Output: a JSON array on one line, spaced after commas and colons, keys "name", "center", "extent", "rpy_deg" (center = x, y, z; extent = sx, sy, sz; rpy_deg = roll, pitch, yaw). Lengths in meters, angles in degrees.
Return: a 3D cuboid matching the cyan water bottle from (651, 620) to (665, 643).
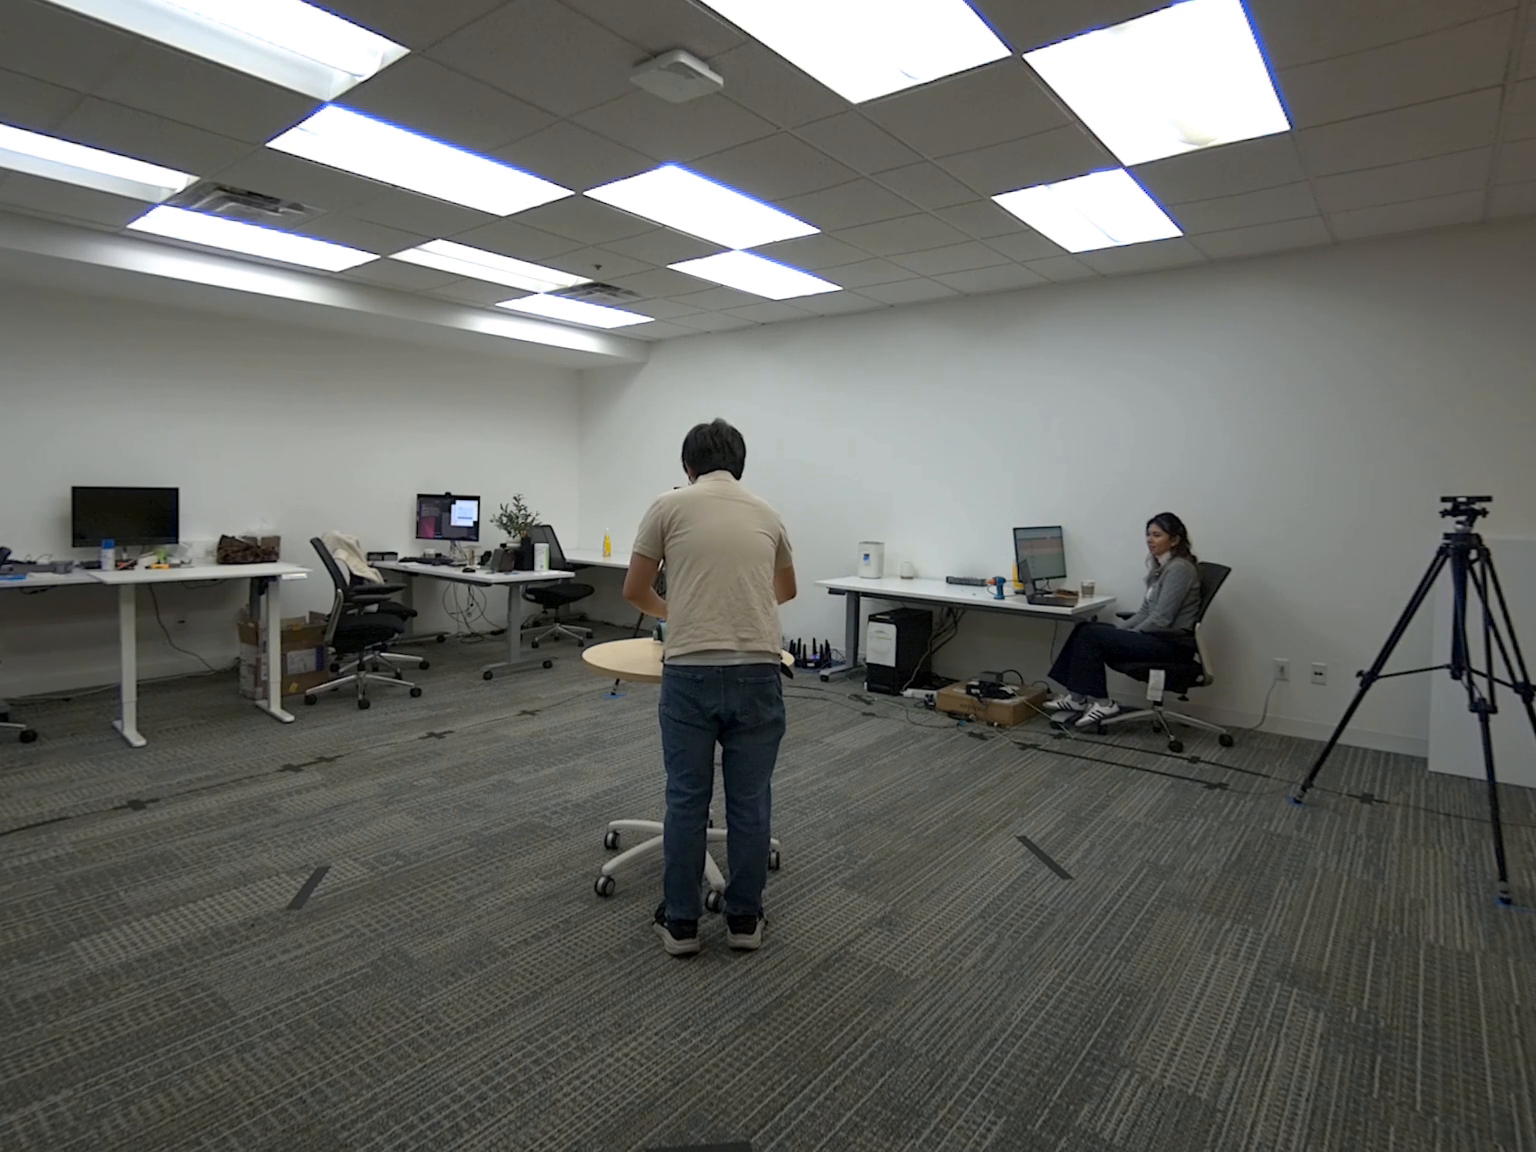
[{"name": "cyan water bottle", "center": [-0.318, 0.215, 3.327], "extent": [0.281, 0.092, 0.093], "rpy_deg": [1, 4, -7]}]
